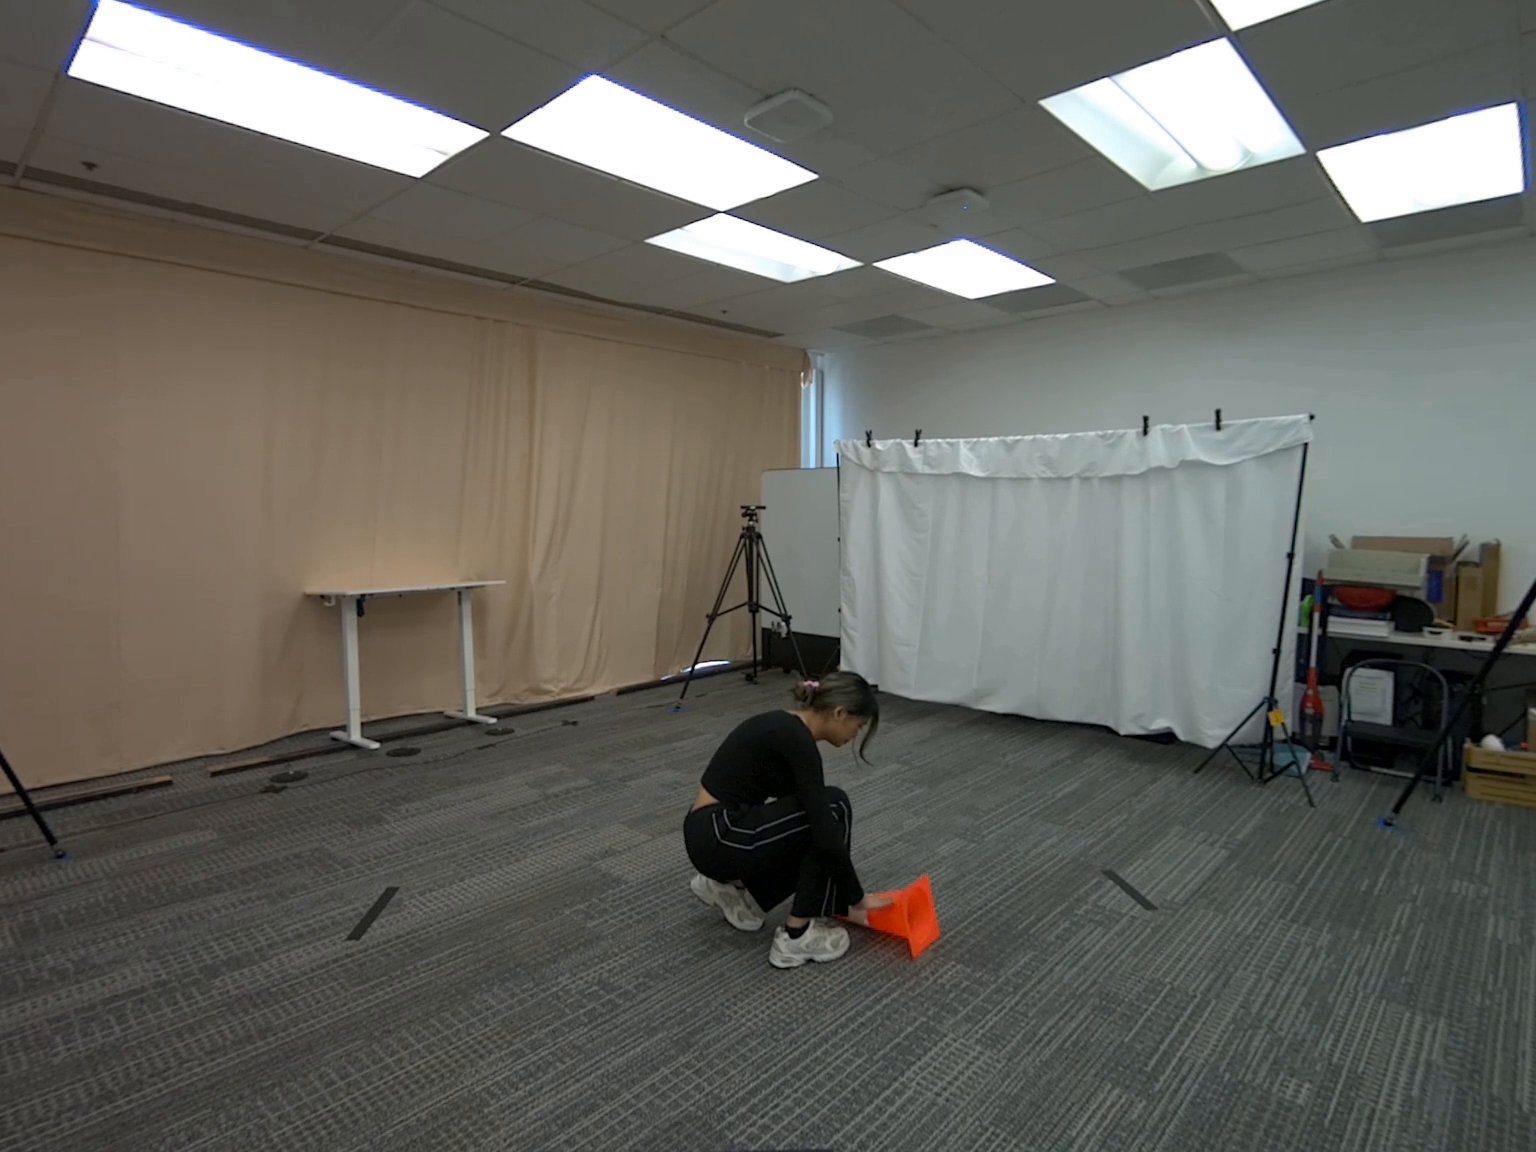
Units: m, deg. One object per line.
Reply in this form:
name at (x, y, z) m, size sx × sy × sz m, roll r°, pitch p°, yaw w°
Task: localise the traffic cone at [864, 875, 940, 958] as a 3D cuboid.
traffic cone at (0.330, 1.109, 2.762) m, size 0.393 × 0.204 × 0.199 m, roll -14°, pitch -7°, yaw 35°
